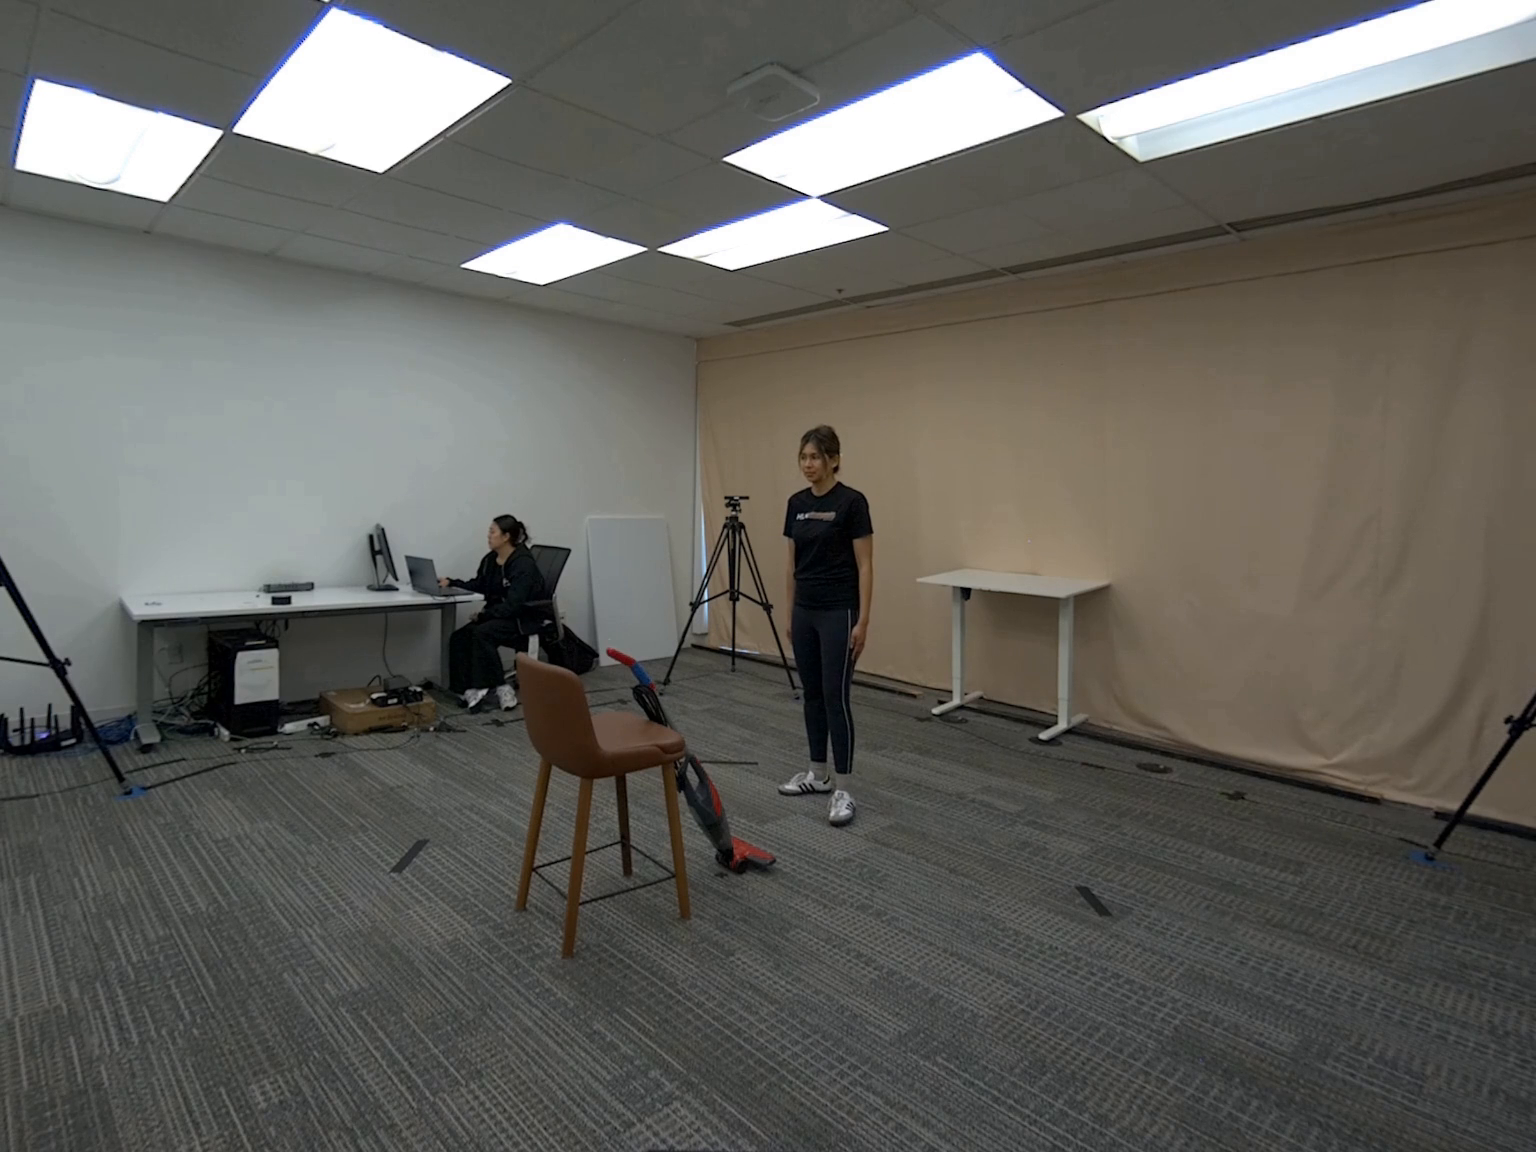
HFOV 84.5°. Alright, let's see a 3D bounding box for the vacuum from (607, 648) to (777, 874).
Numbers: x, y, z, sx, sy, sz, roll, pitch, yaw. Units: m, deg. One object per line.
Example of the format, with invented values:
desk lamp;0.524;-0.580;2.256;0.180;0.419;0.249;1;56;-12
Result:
vacuum;-0.308;0.668;2.989;0.259;1.025;0.144;3;38;46
